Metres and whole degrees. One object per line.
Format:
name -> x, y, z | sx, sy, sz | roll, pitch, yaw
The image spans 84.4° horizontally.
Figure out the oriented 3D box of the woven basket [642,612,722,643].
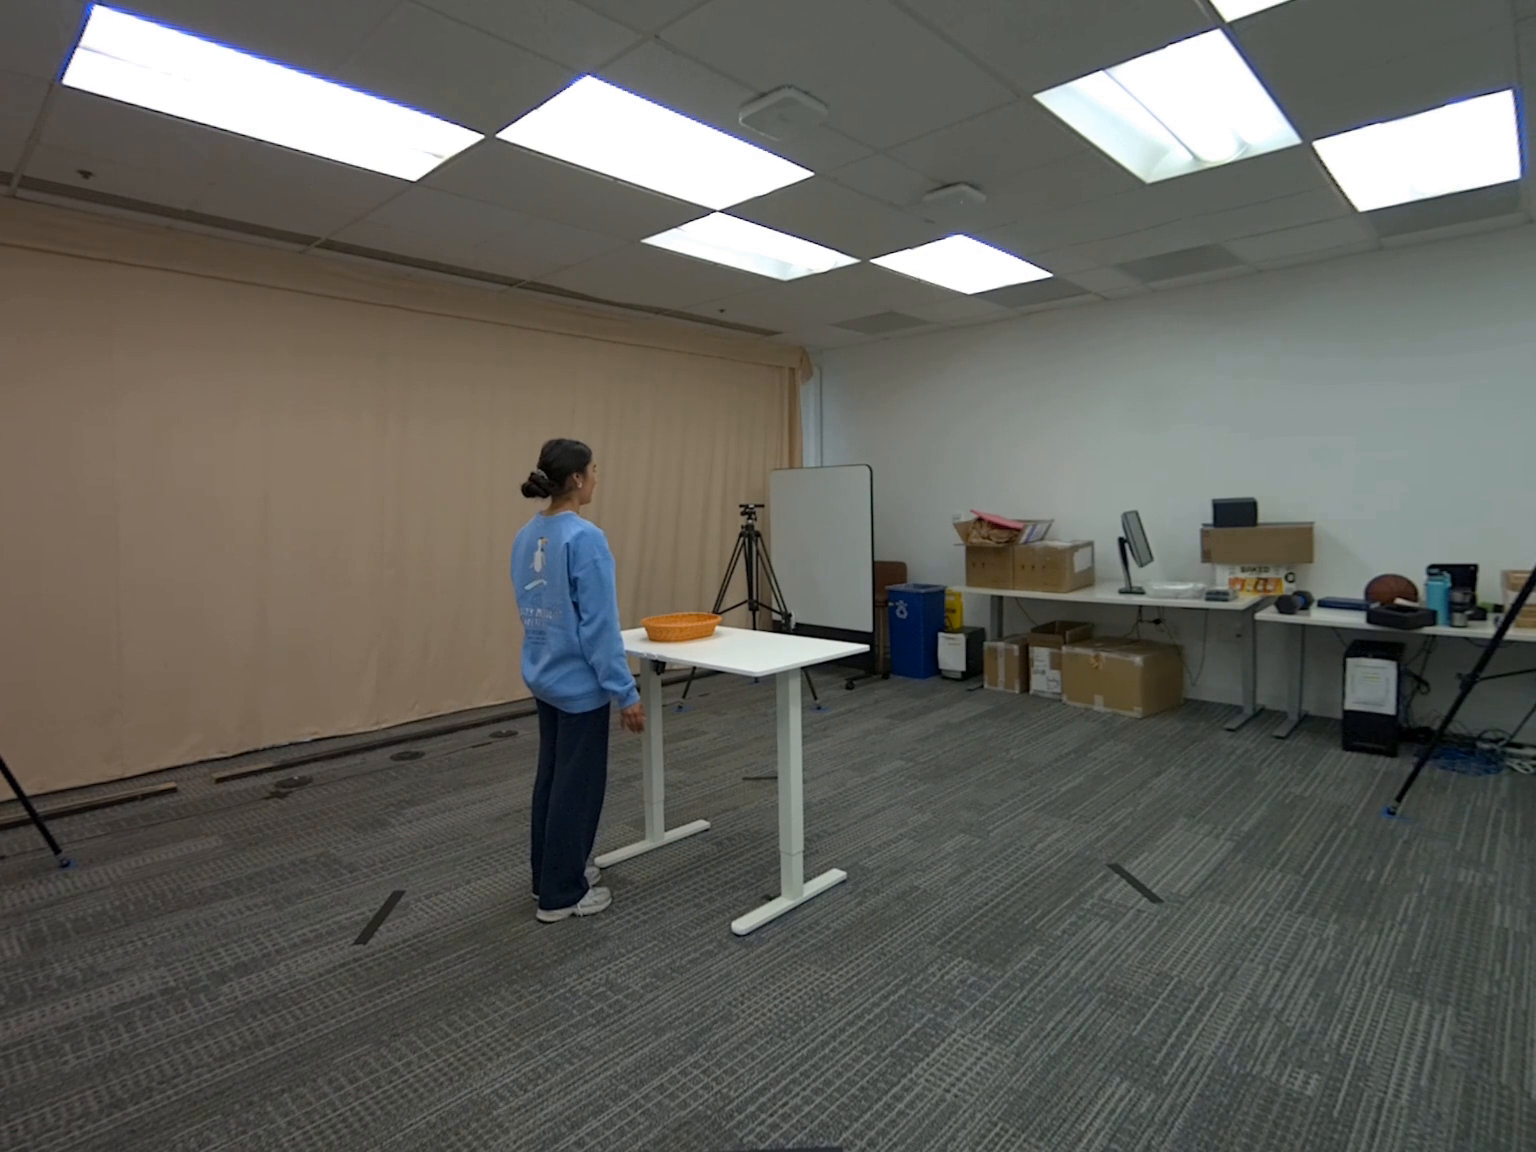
woven basket -> -0.333, 0.208, 3.301 | 0.261, 0.073, 0.340 | 6, 9, 44
